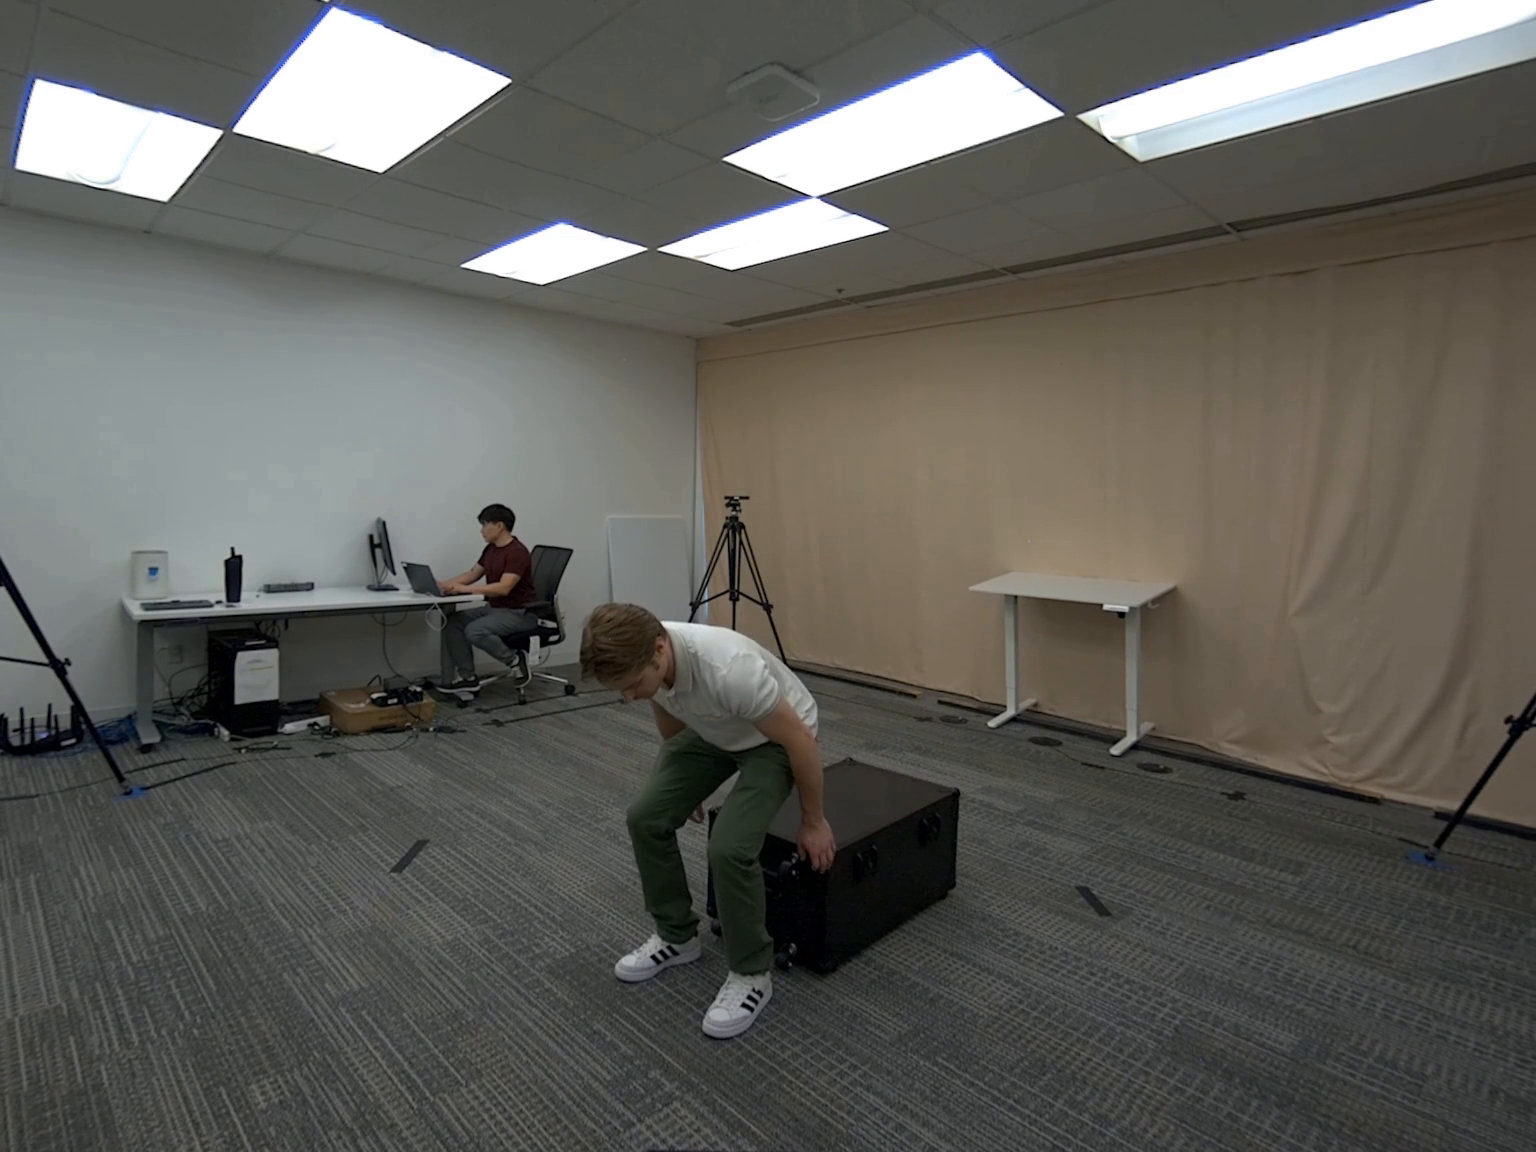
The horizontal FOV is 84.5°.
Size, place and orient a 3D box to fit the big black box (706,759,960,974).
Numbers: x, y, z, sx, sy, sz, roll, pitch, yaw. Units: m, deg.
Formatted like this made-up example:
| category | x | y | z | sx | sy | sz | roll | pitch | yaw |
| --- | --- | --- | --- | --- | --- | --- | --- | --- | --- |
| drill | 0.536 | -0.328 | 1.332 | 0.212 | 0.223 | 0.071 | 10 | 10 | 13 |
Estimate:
| category | x | y | z | sx | sy | sz | roll | pitch | yaw |
| --- | --- | --- | --- | --- | --- | --- | --- | --- | --- |
| big black box | 0.205 | 0.941 | 2.840 | 0.537 | 0.384 | 0.849 | 7 | 8 | 41 |
